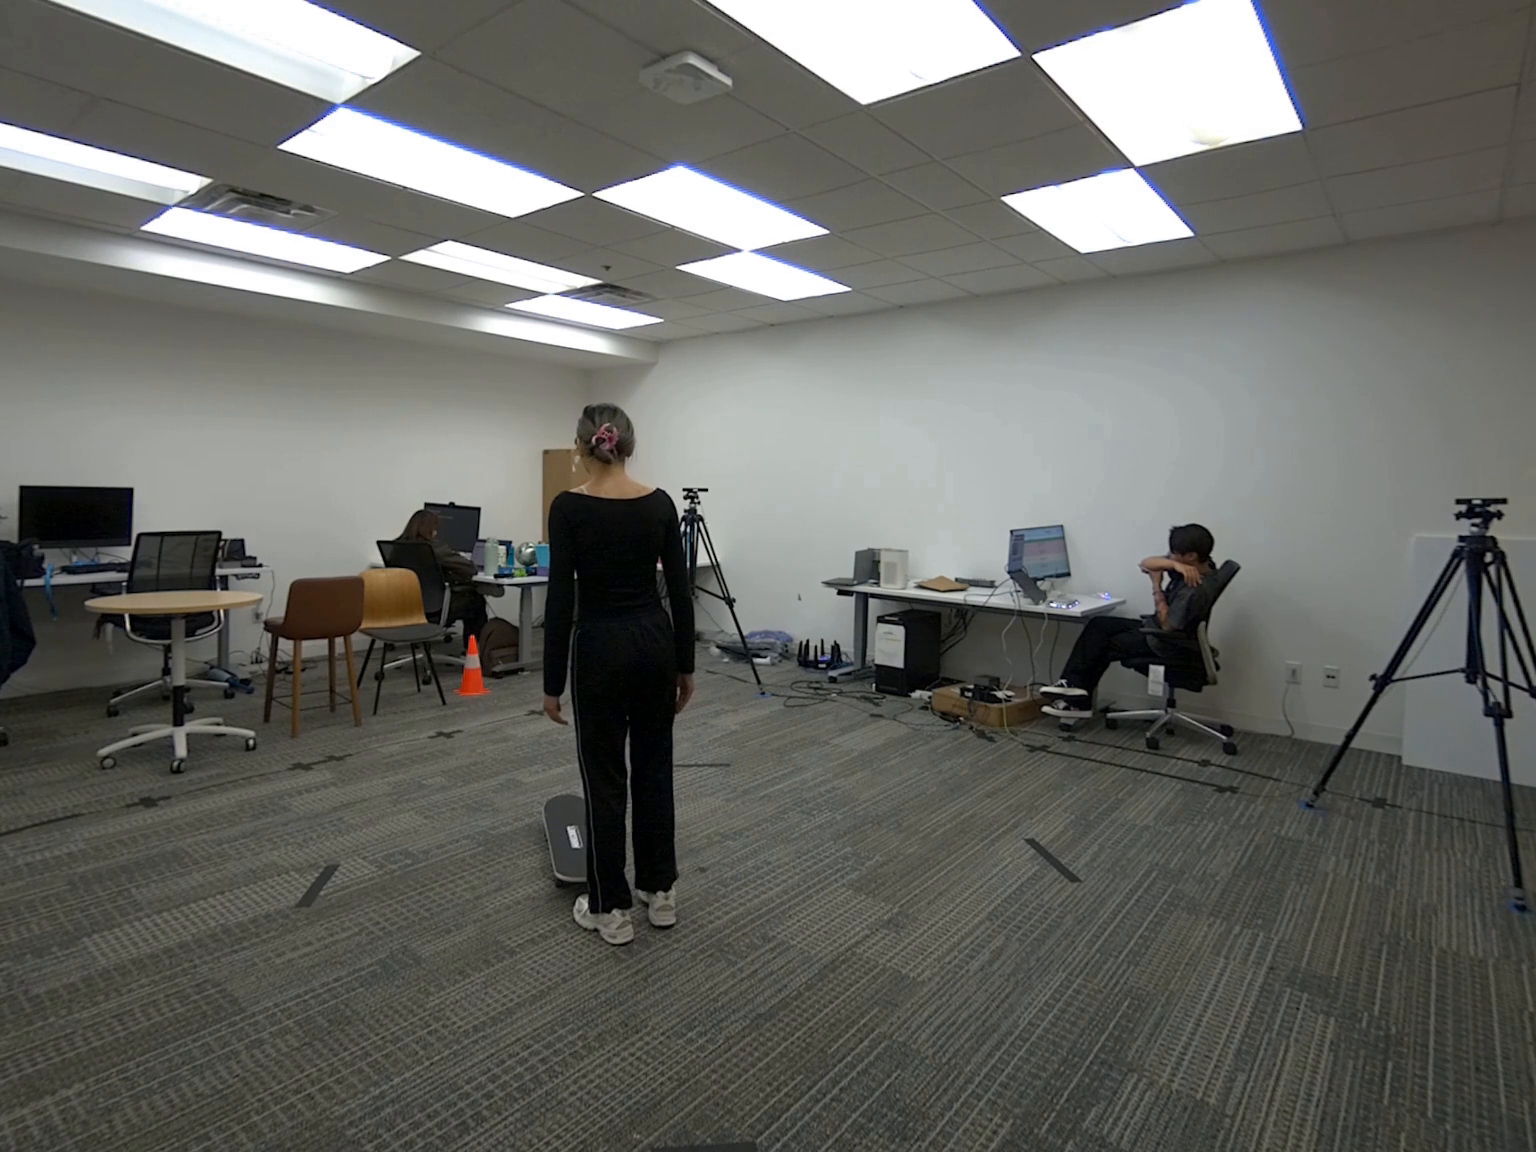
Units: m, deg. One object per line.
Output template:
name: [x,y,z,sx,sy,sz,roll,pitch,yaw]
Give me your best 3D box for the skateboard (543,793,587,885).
skateboard: [-0.737,1.001,3.163,0.190,0.110,0.802,1,6,-18]
